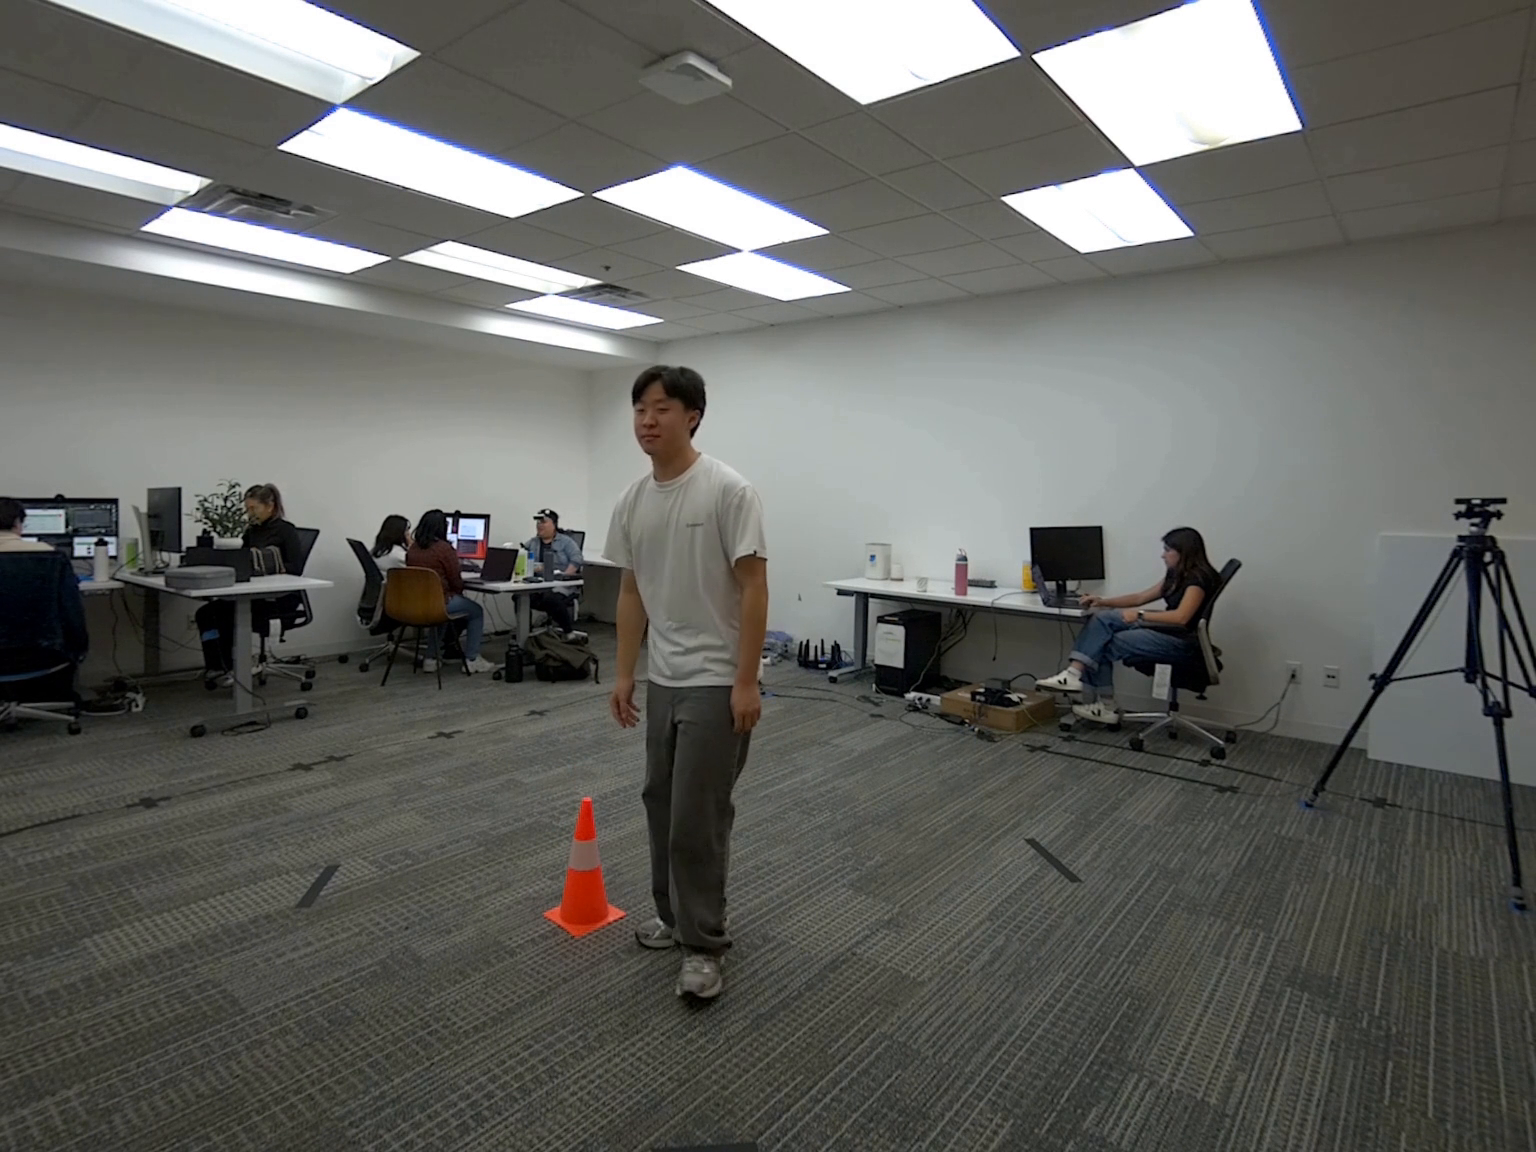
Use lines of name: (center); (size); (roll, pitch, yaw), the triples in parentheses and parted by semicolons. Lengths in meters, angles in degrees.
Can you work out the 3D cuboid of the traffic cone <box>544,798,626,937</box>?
traffic cone: (-0.594, 0.910, 2.757); (0.210, 0.383, 0.199); (4, 4, 43)
